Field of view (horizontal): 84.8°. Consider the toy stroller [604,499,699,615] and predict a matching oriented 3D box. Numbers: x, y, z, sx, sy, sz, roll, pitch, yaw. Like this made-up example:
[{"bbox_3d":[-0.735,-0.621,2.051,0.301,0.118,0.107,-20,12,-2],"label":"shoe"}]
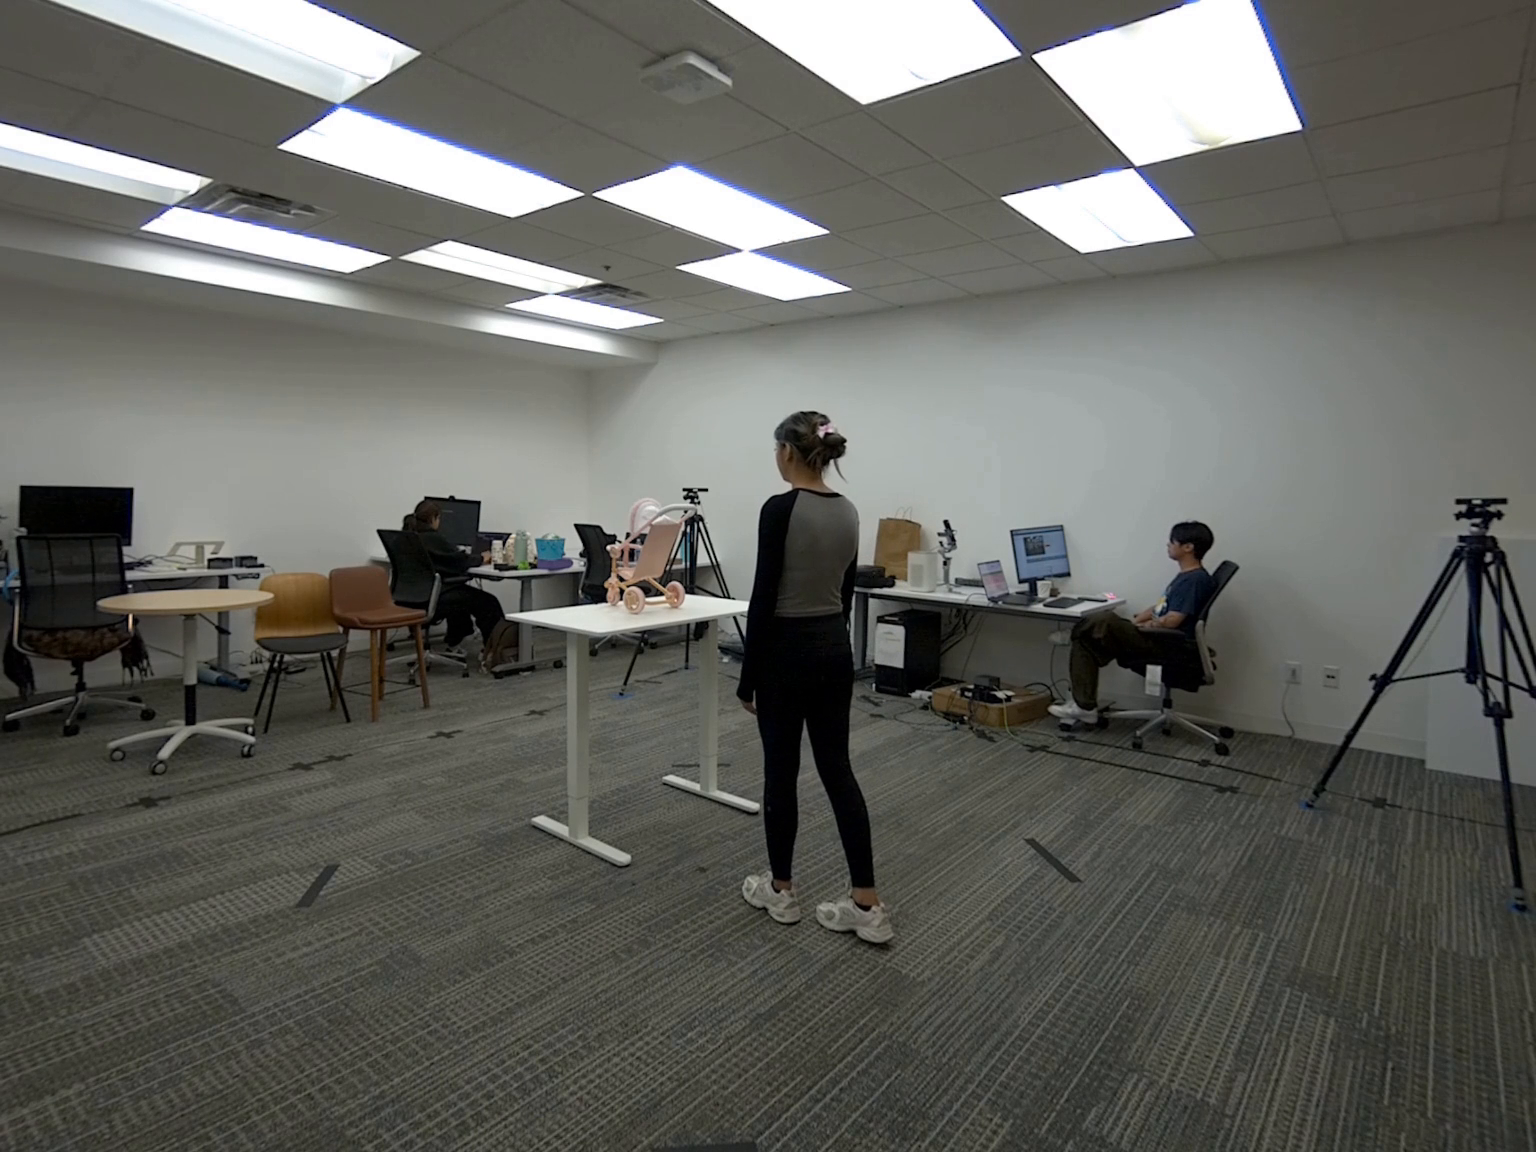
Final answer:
[{"bbox_3d":[-0.527,-0.087,3.564,0.355,0.530,0.273,22,16,39],"label":"toy stroller"}]
